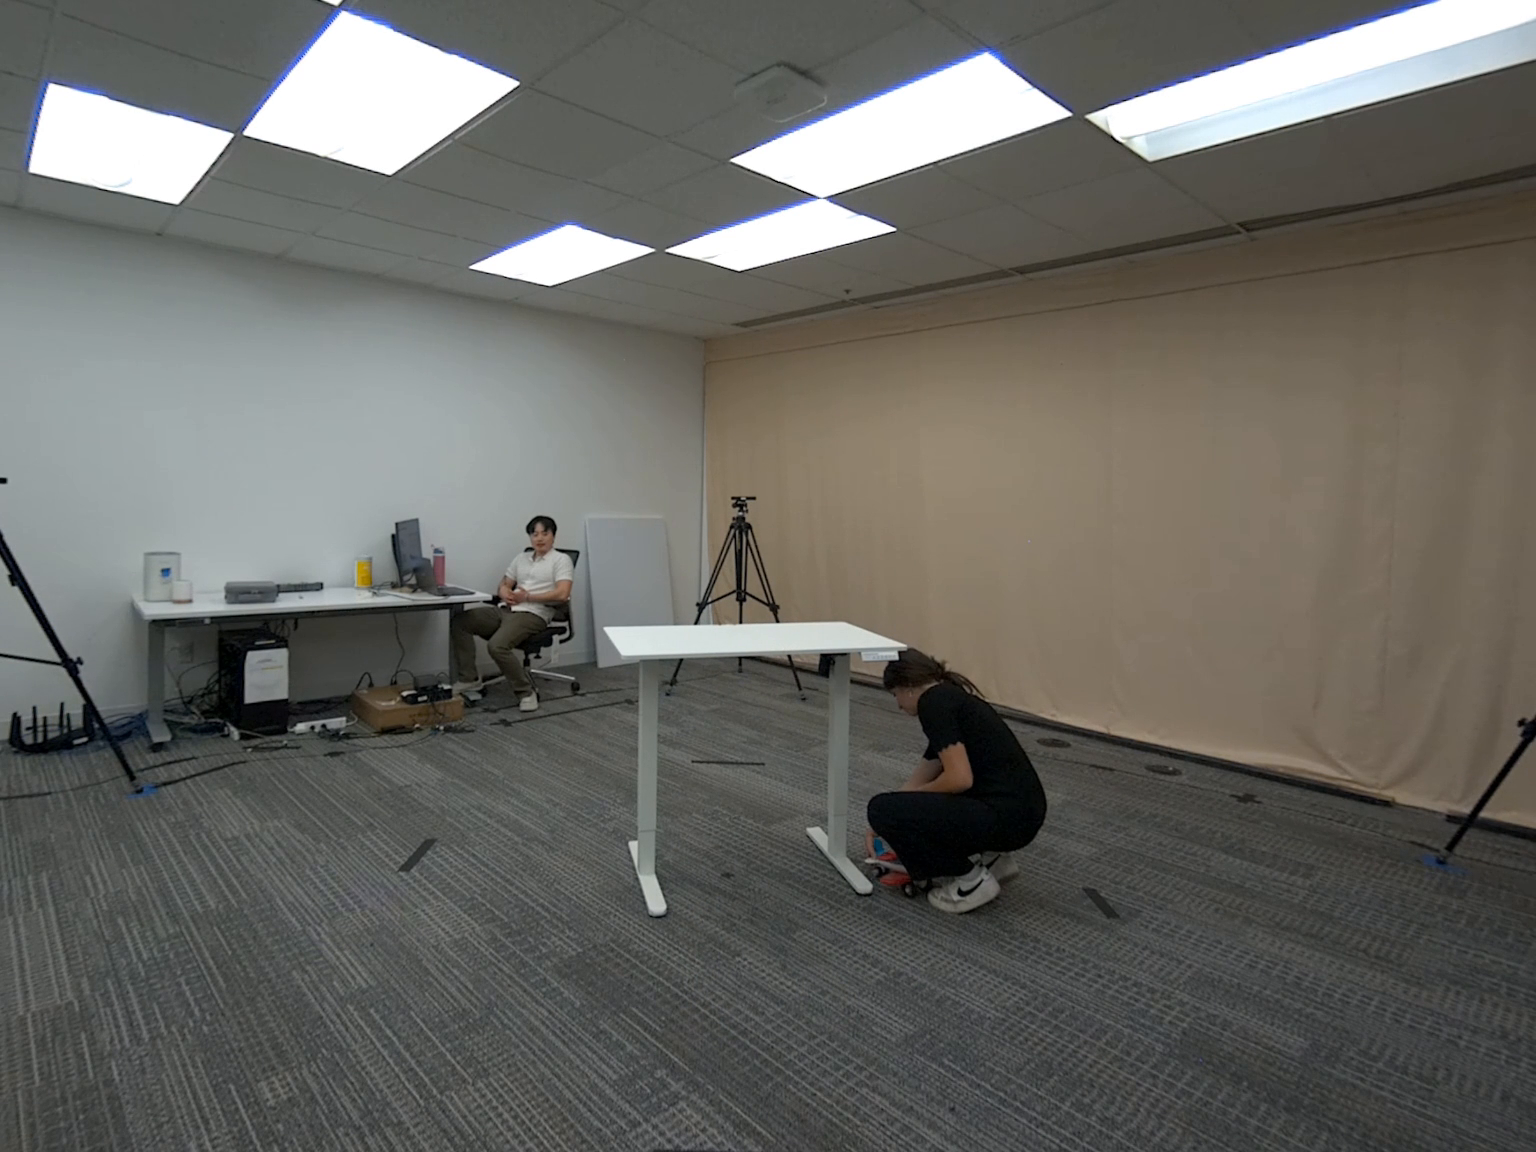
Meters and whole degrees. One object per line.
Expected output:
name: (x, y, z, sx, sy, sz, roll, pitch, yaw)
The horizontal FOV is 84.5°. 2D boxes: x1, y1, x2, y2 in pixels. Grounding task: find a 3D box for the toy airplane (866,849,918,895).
toy airplane: (0.455, 1.042, 3.049, 0.264, 0.156, 0.247, 5, 8, 25)
